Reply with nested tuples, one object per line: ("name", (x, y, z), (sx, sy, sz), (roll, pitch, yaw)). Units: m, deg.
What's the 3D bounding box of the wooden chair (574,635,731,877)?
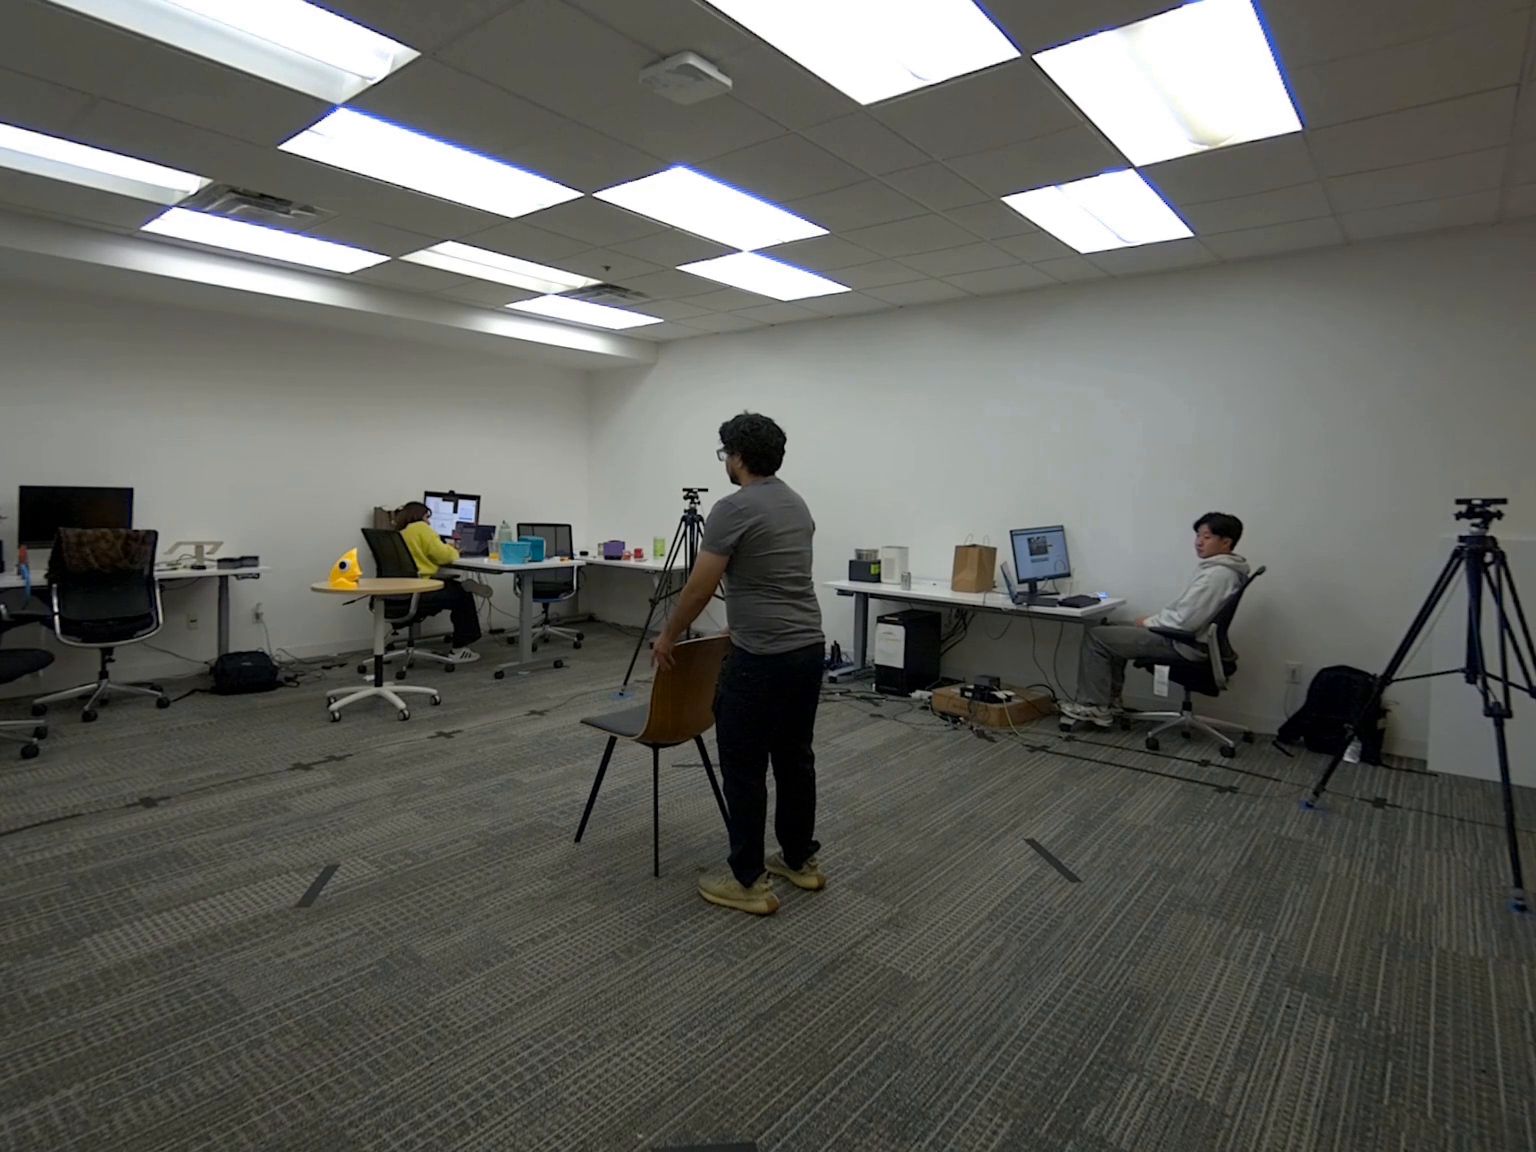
("wooden chair", (-0.451, 0.615, 3.327), (0.542, 0.873, 0.464), (10, 8, 38))
